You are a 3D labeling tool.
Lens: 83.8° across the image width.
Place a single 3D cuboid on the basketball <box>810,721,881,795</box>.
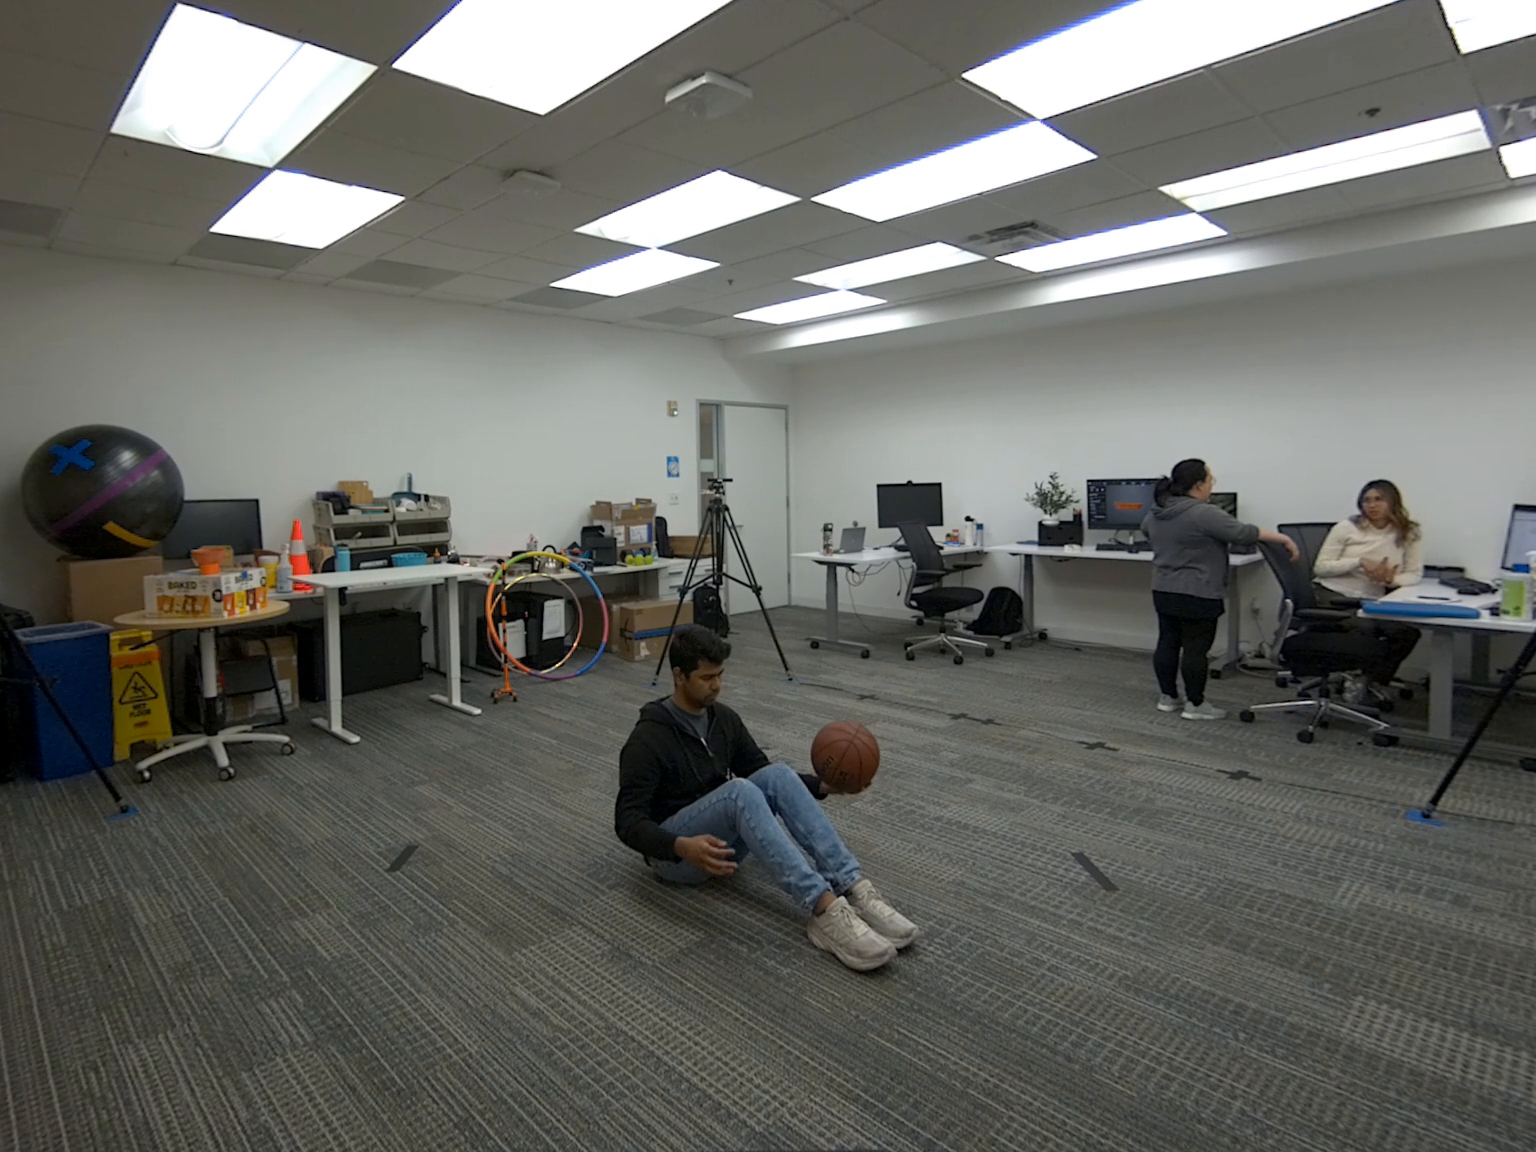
[{"bbox_3d":[0.253,0.618,2.954,0.236,0.235,0.237,-1,5,-2],"label":"basketball"}]
